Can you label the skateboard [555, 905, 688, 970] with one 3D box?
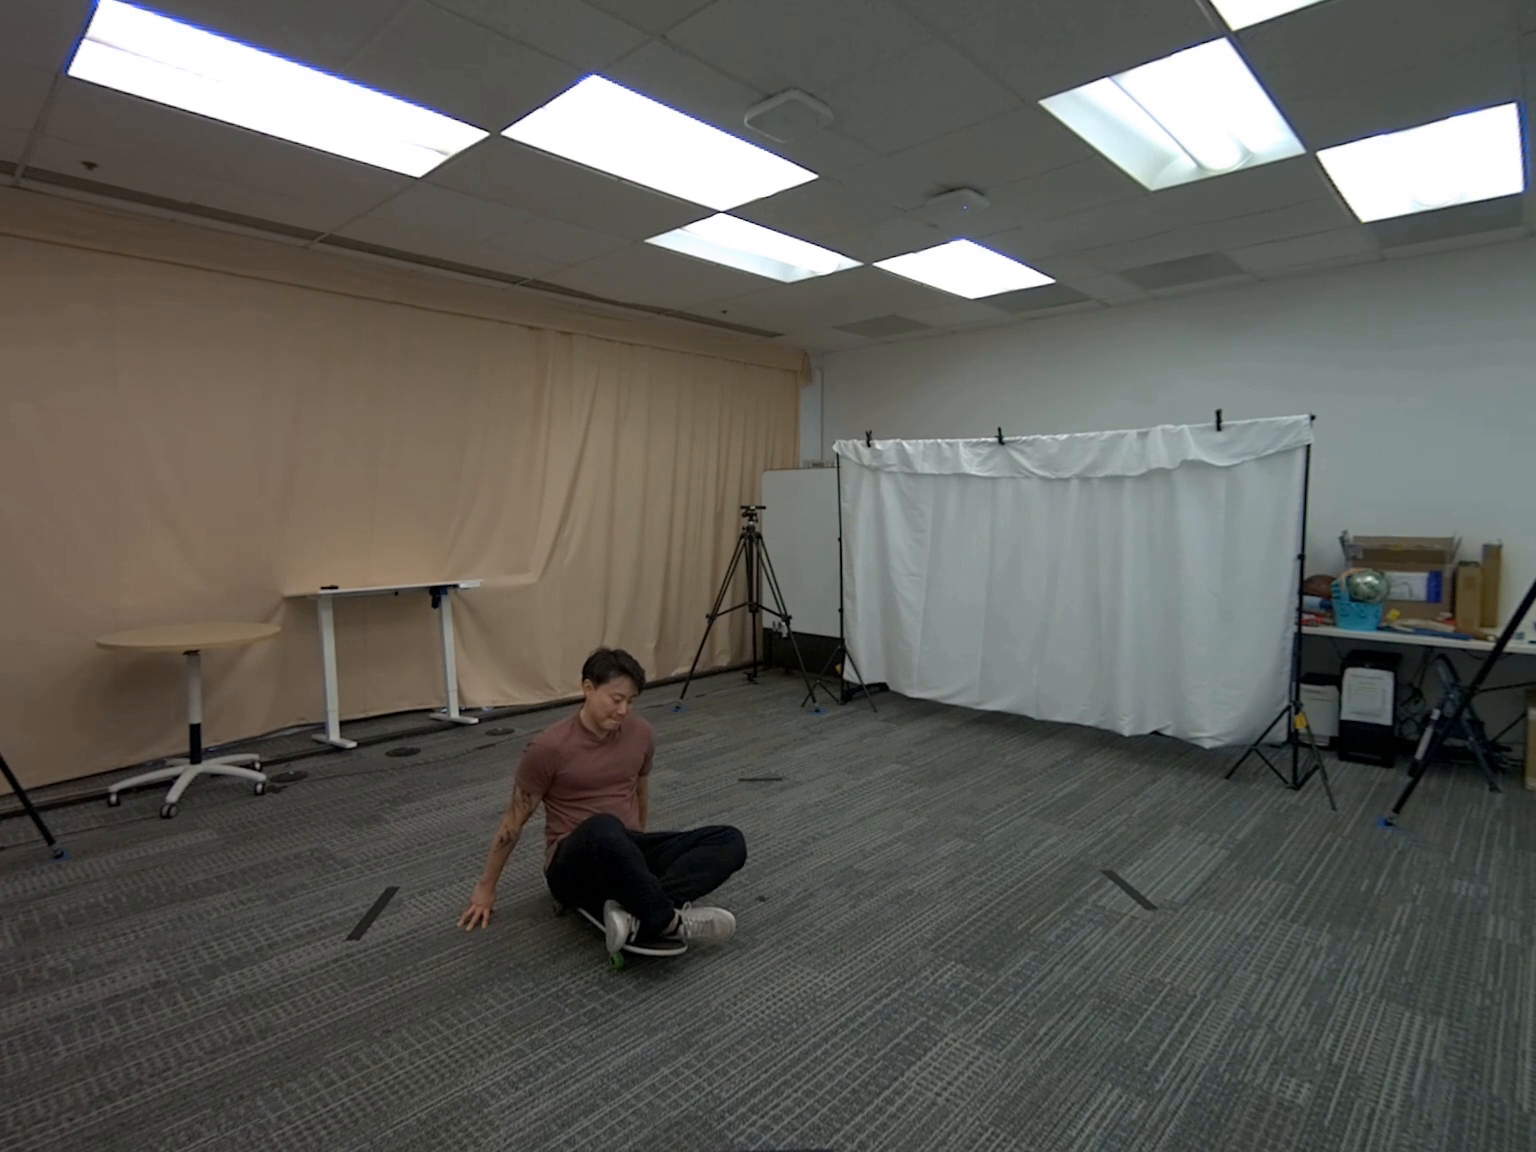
[{"bbox_3d":[-0.523,1.126,2.753,0.187,0.110,0.811,12,-4,-37],"label":"skateboard"}]
